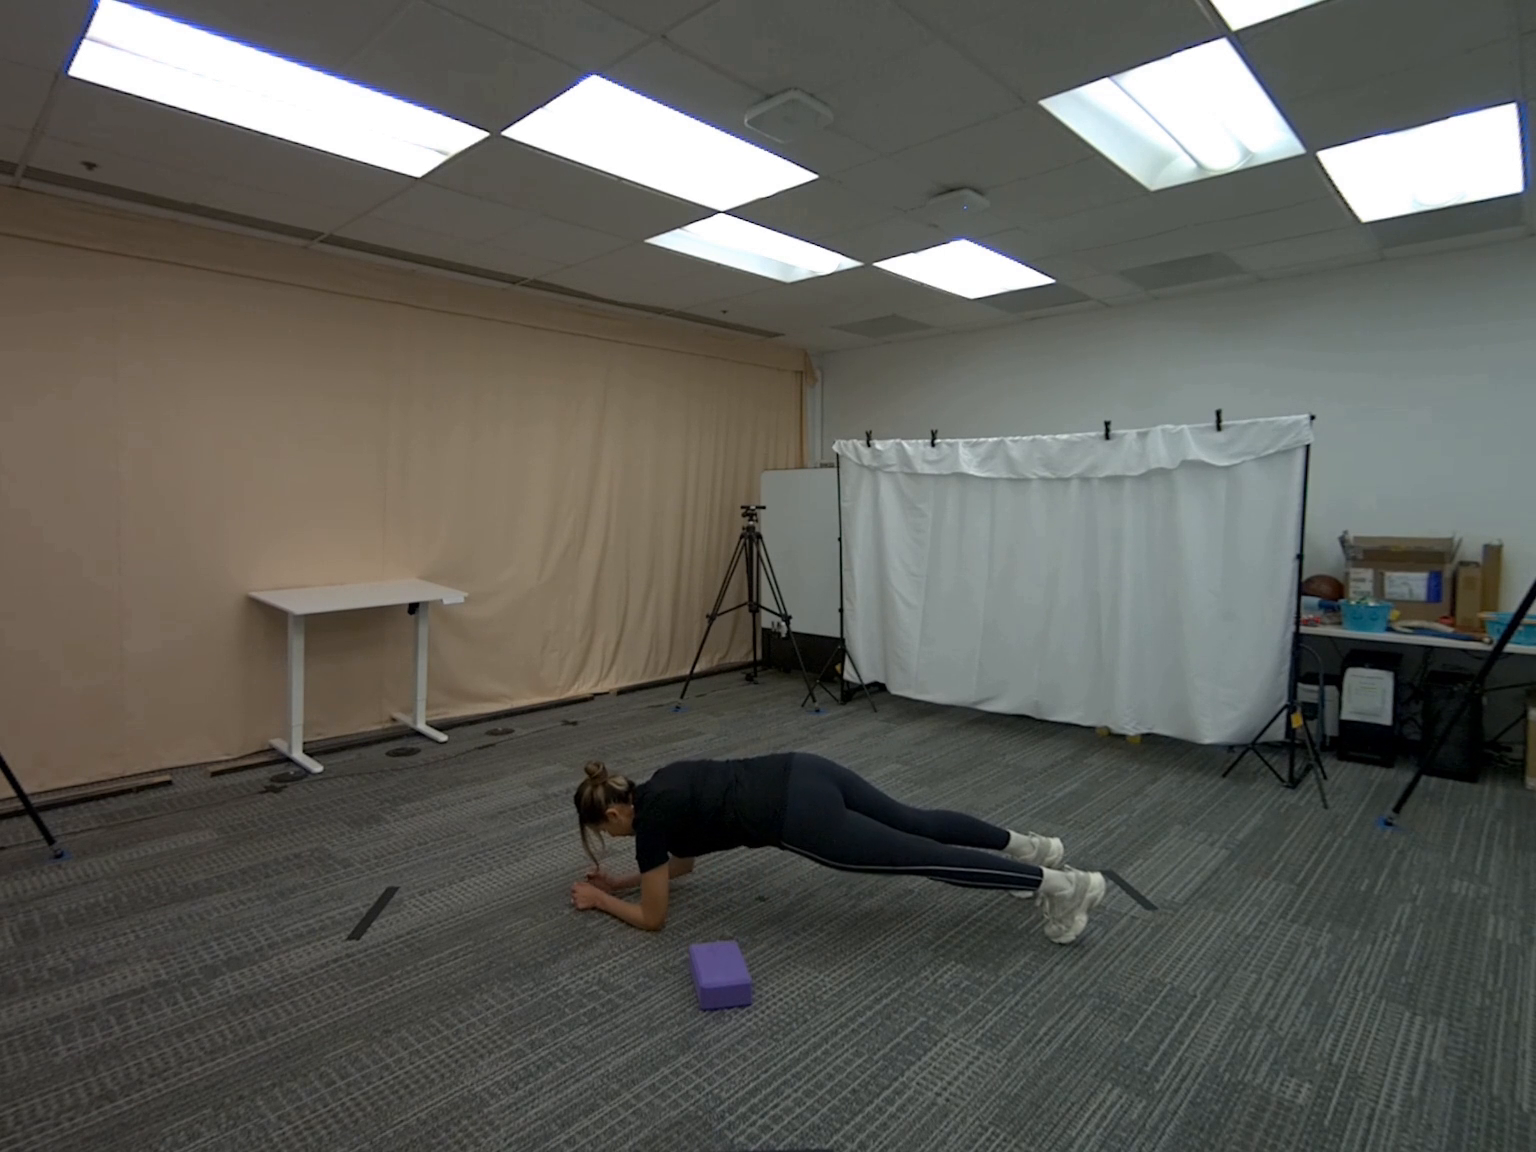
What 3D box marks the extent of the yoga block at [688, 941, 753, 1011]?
[{"bbox_3d":[-0.136,1.152,2.430,0.147,0.076,0.233,-1,5,-13],"label":"yoga block"}]
